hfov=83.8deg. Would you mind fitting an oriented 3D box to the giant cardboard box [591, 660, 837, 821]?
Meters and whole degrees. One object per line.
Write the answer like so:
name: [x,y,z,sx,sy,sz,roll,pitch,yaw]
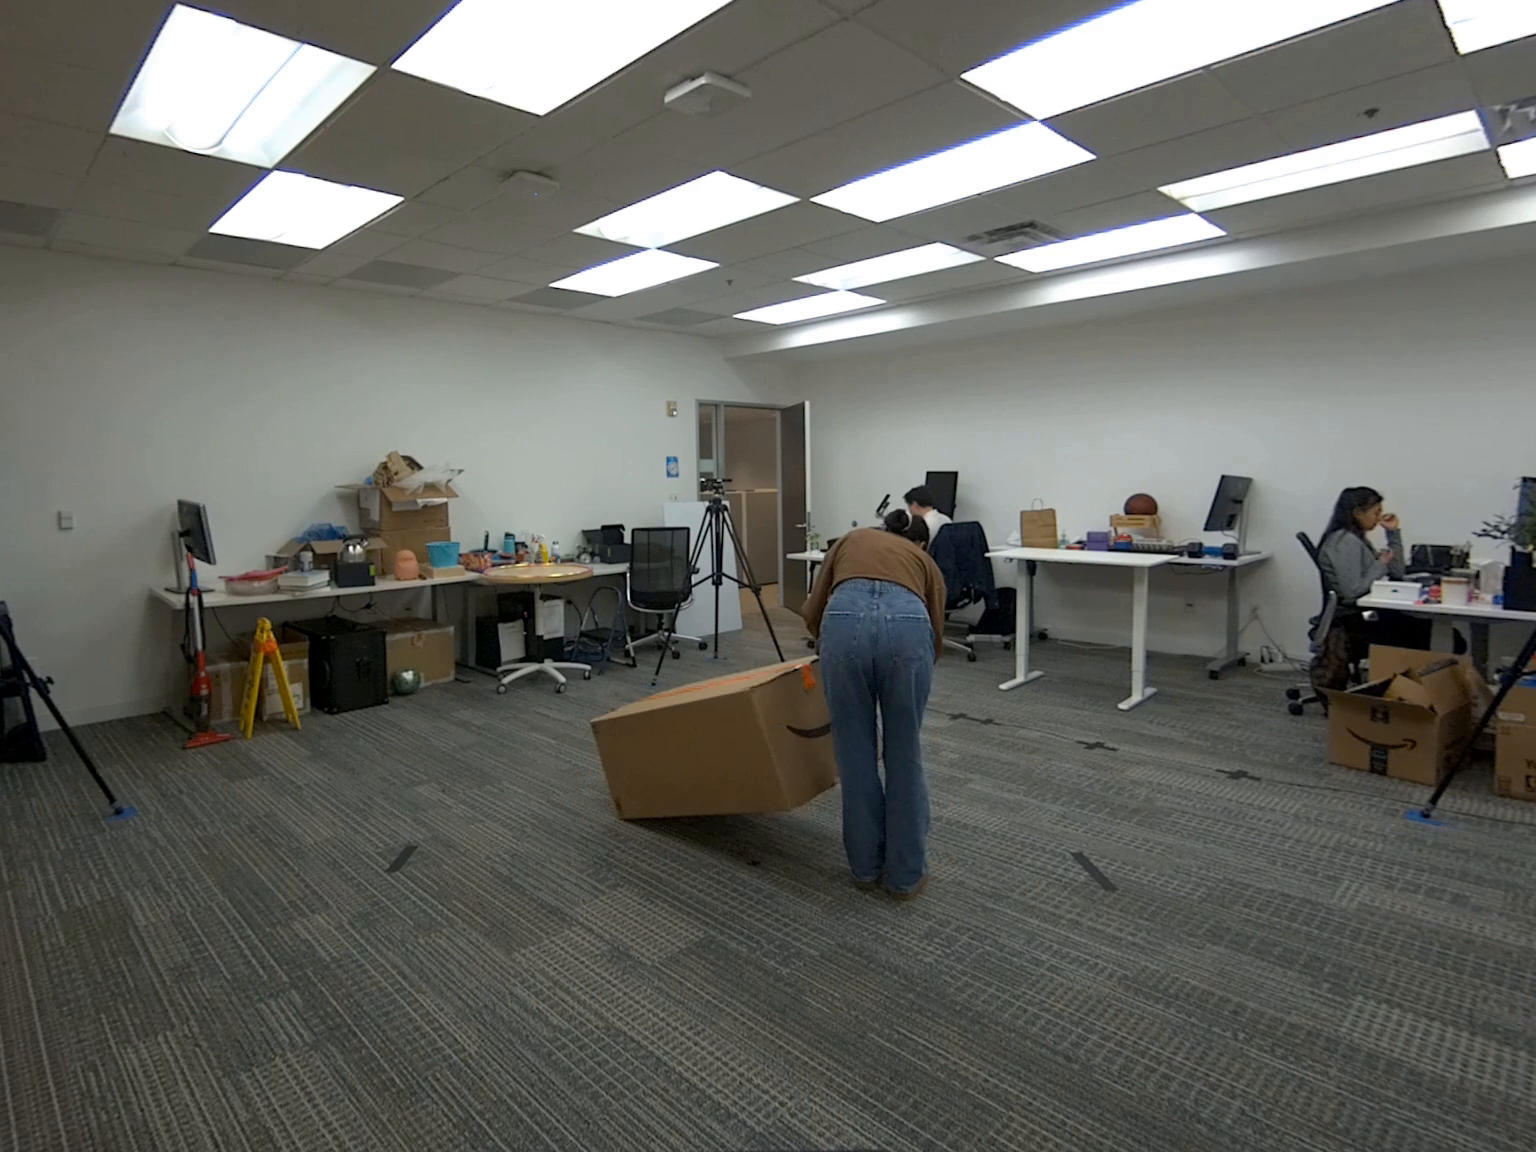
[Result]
giant cardboard box: [-0.161,0.635,3.401,0.571,0.448,1.045,-15,-2,-45]
